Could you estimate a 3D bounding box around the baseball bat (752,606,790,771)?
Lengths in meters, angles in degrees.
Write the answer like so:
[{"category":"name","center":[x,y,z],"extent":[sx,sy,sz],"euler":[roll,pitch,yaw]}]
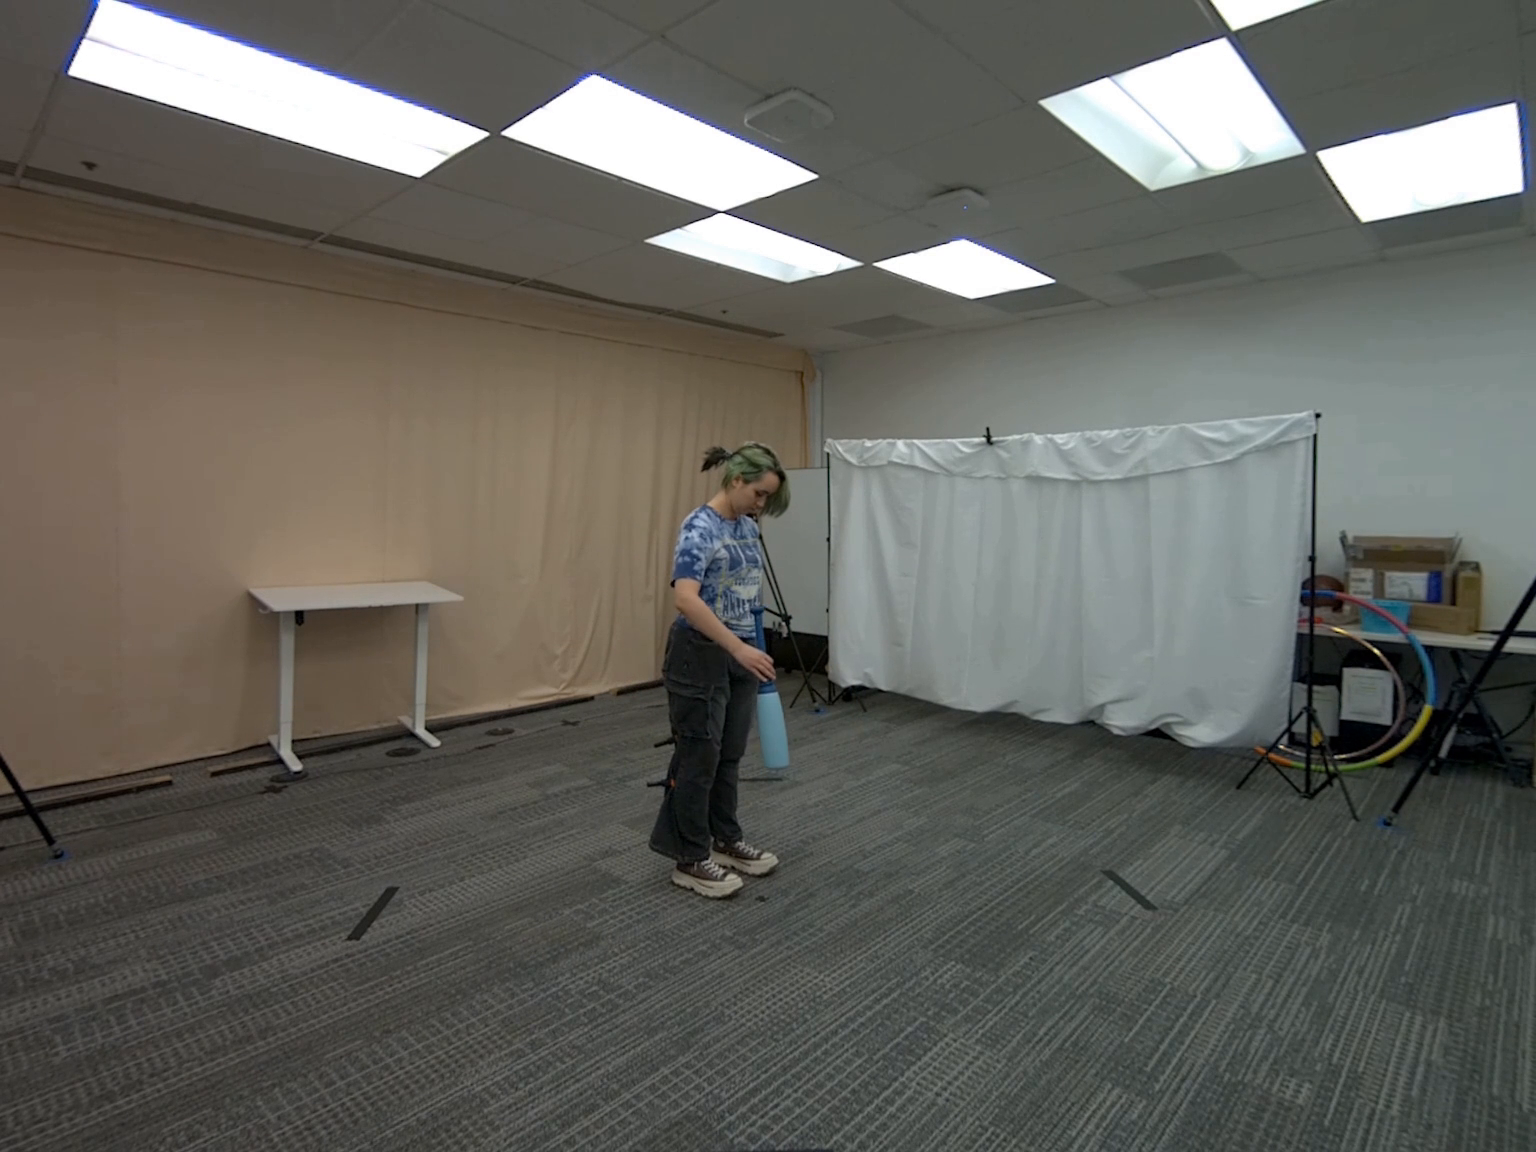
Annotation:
[{"category":"baseball bat","center":[-0.005,0.376,2.833],"extent":[0.089,0.547,0.088],"euler":[-6,-9,-3]}]
